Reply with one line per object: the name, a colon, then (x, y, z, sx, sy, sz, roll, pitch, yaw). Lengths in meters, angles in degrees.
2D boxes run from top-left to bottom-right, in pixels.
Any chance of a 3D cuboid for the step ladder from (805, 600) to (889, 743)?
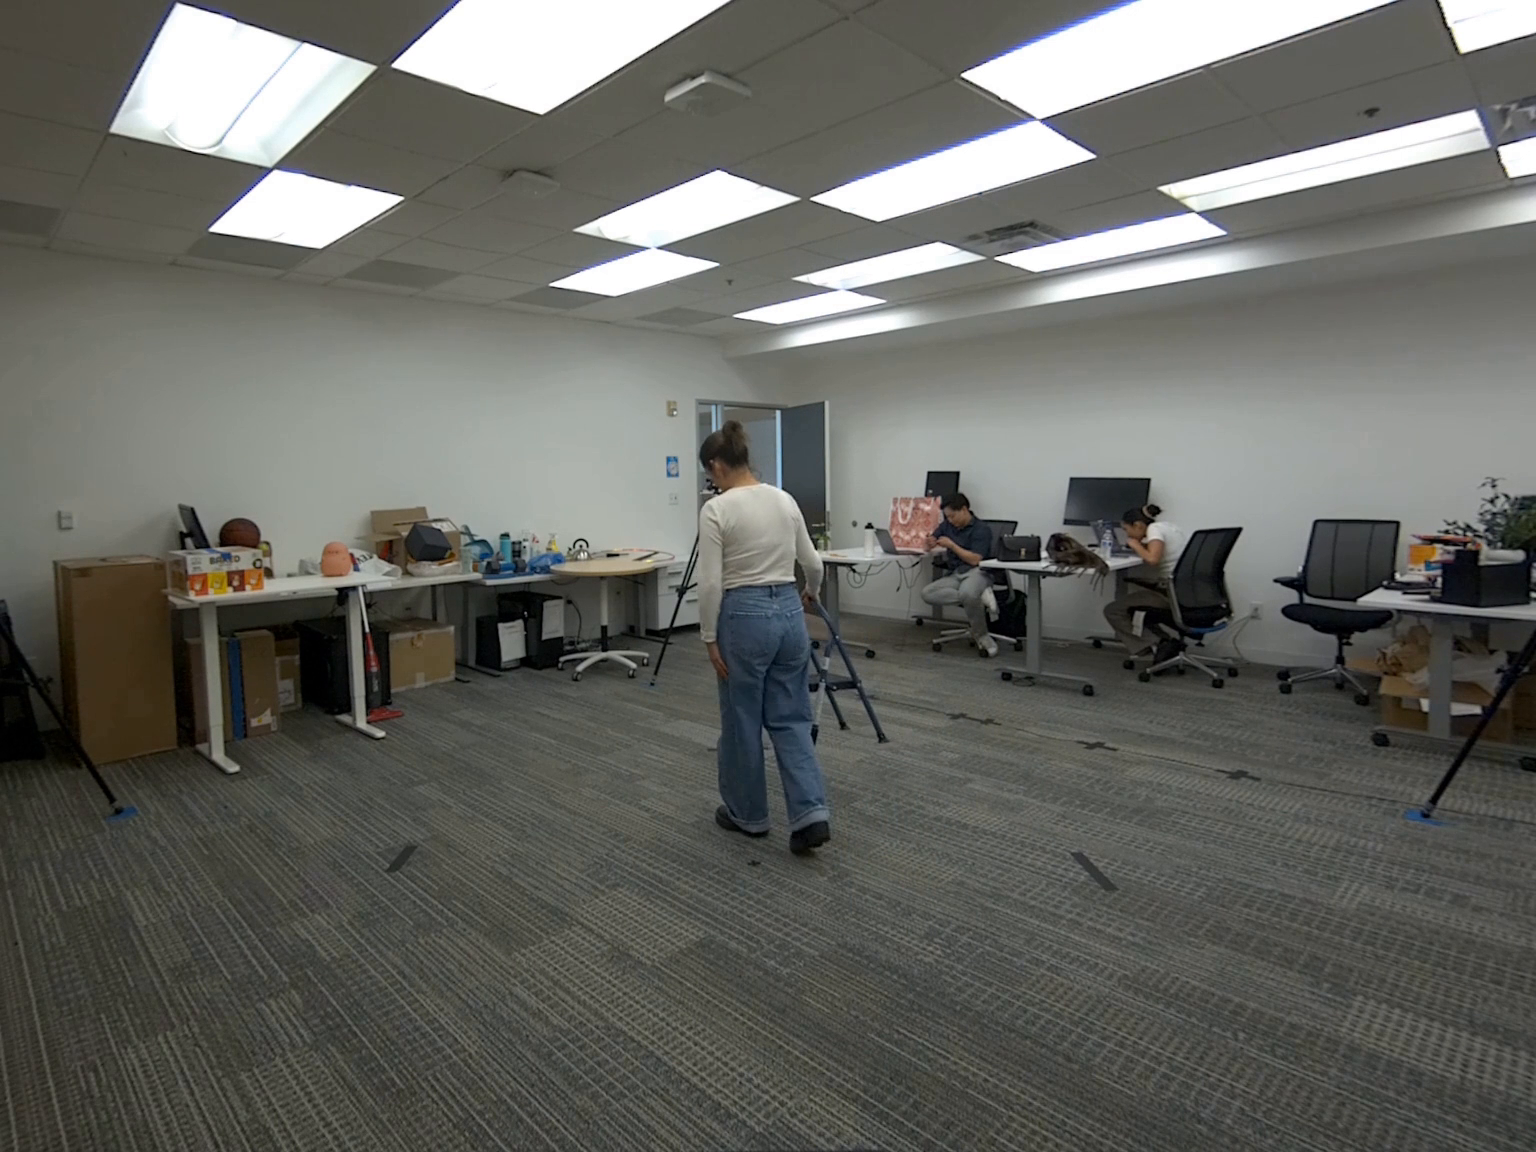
step ladder: (0.247, 0.403, 3.669, 0.344, 0.608, 0.436, -3, -3, -17)
